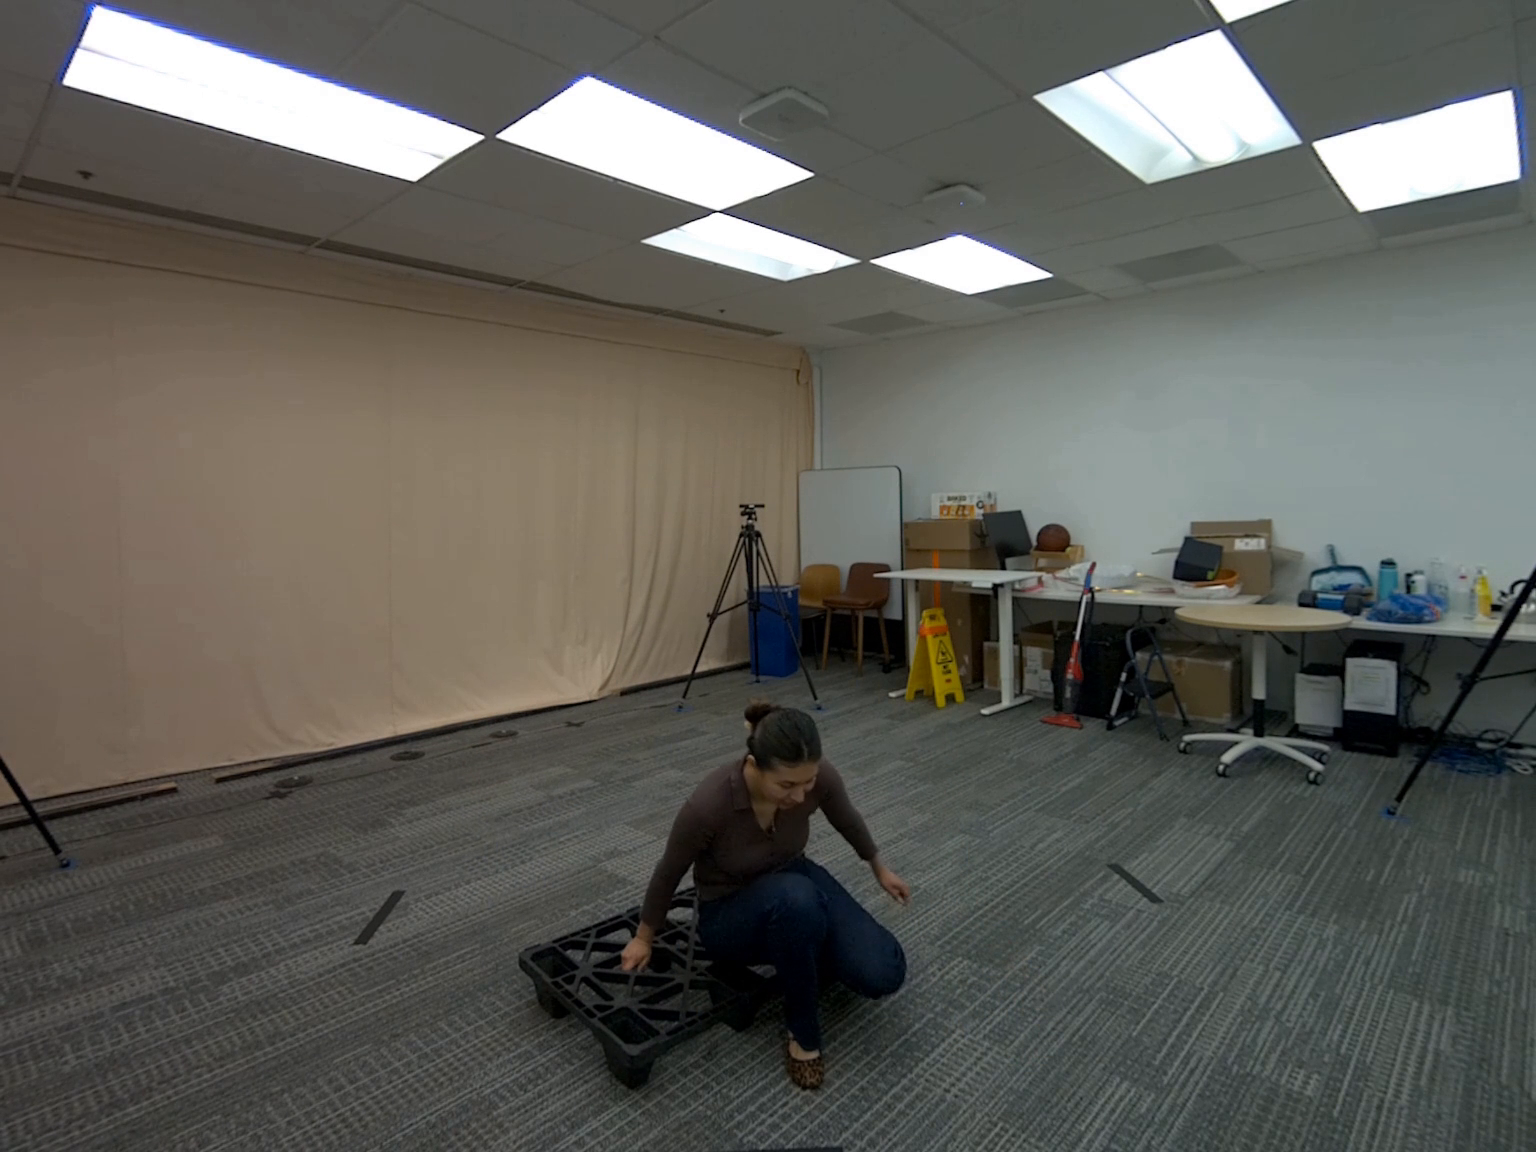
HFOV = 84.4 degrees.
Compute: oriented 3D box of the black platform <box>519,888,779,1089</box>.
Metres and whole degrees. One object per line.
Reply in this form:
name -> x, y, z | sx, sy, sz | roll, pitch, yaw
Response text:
black platform -> -0.223, 1.128, 2.416 | 0.781, 0.143, 0.625 | -5, 5, -40
